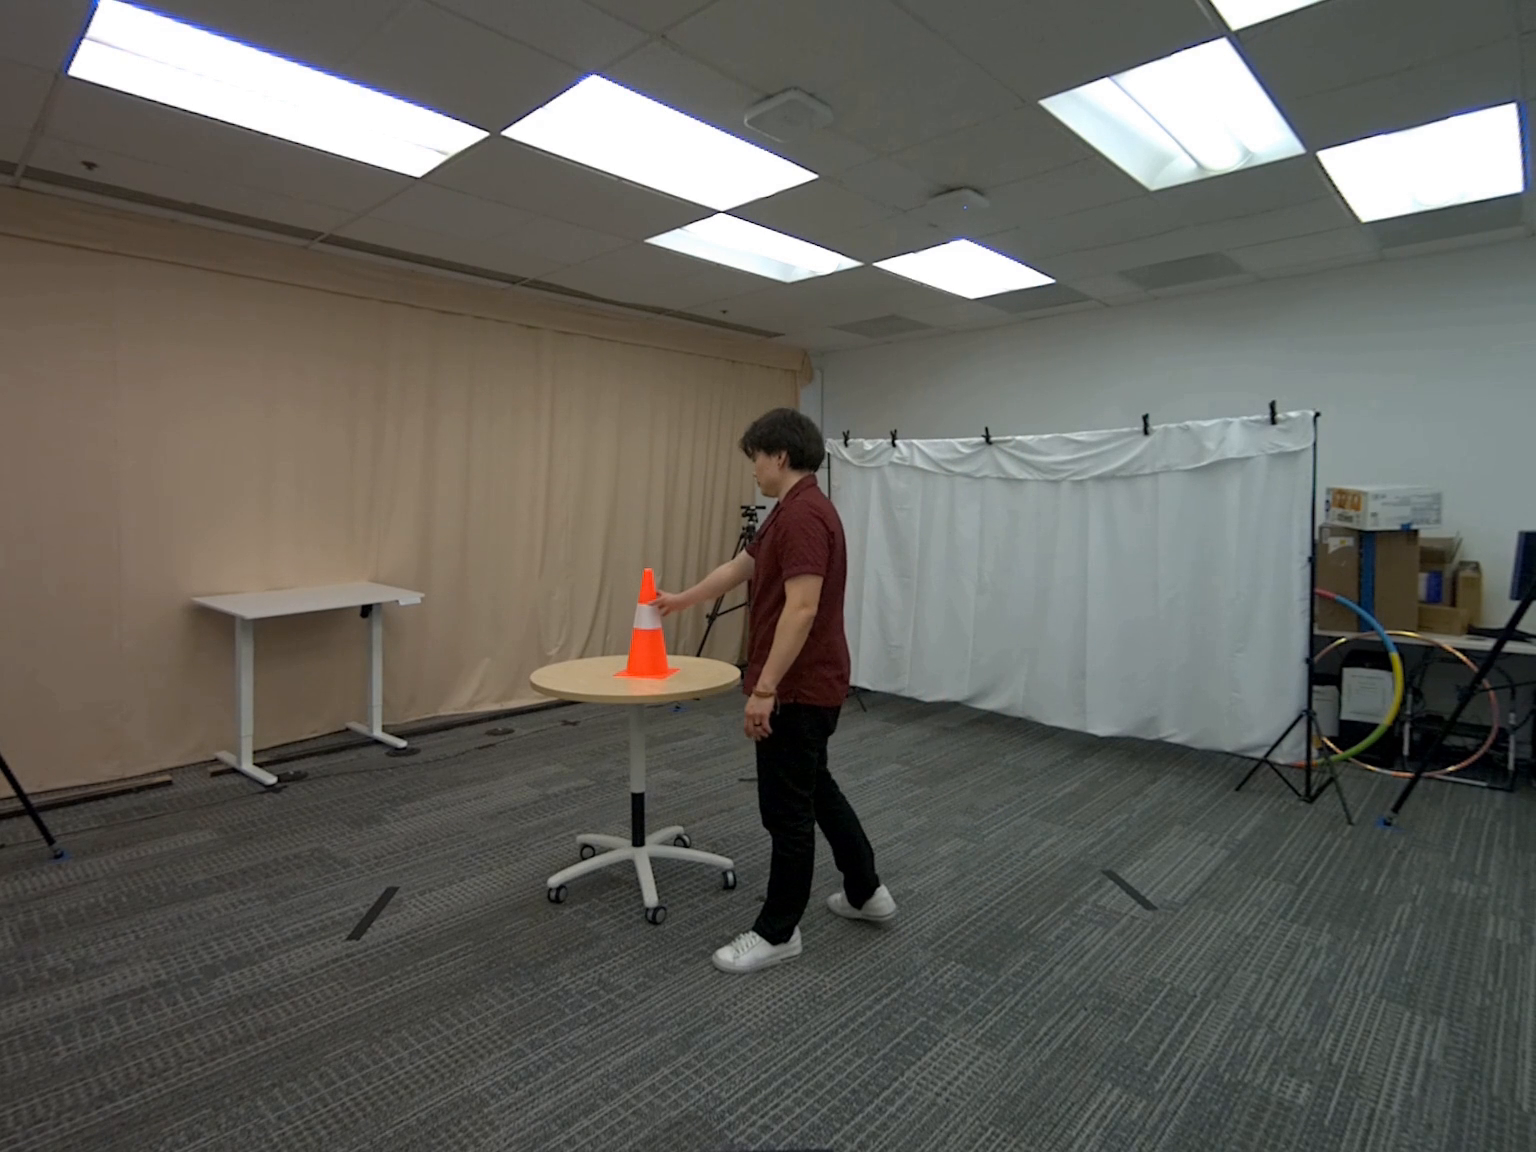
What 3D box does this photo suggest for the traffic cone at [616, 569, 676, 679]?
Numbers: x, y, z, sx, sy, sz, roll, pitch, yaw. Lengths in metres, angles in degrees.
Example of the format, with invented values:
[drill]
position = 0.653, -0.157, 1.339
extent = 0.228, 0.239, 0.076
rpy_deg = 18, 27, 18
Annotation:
[traffic cone]
position = -0.442, 0.167, 3.087
extent = 0.208, 0.383, 0.200
rpy_deg = 1, 2, 15
